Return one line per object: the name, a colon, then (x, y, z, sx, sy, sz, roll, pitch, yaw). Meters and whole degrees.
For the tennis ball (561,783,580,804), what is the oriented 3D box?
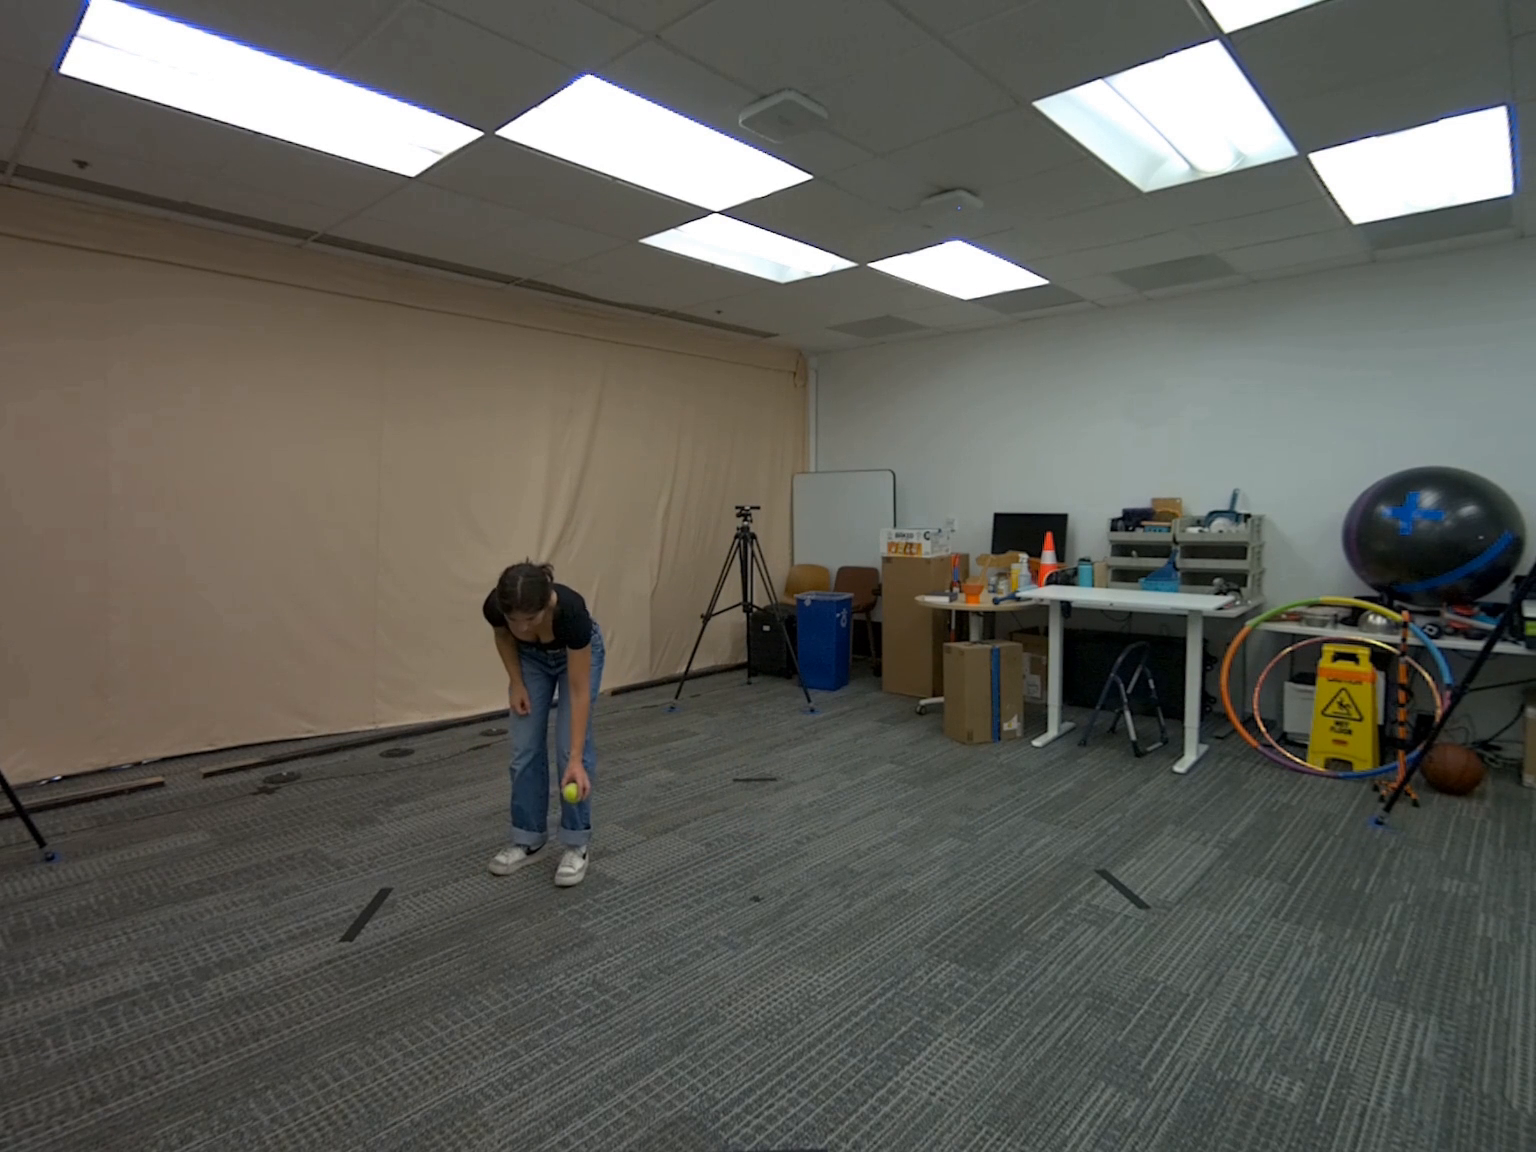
tennis ball: (-0.703, 0.735, 2.962, 0.066, 0.066, 0.067, 0, 4, -2)
